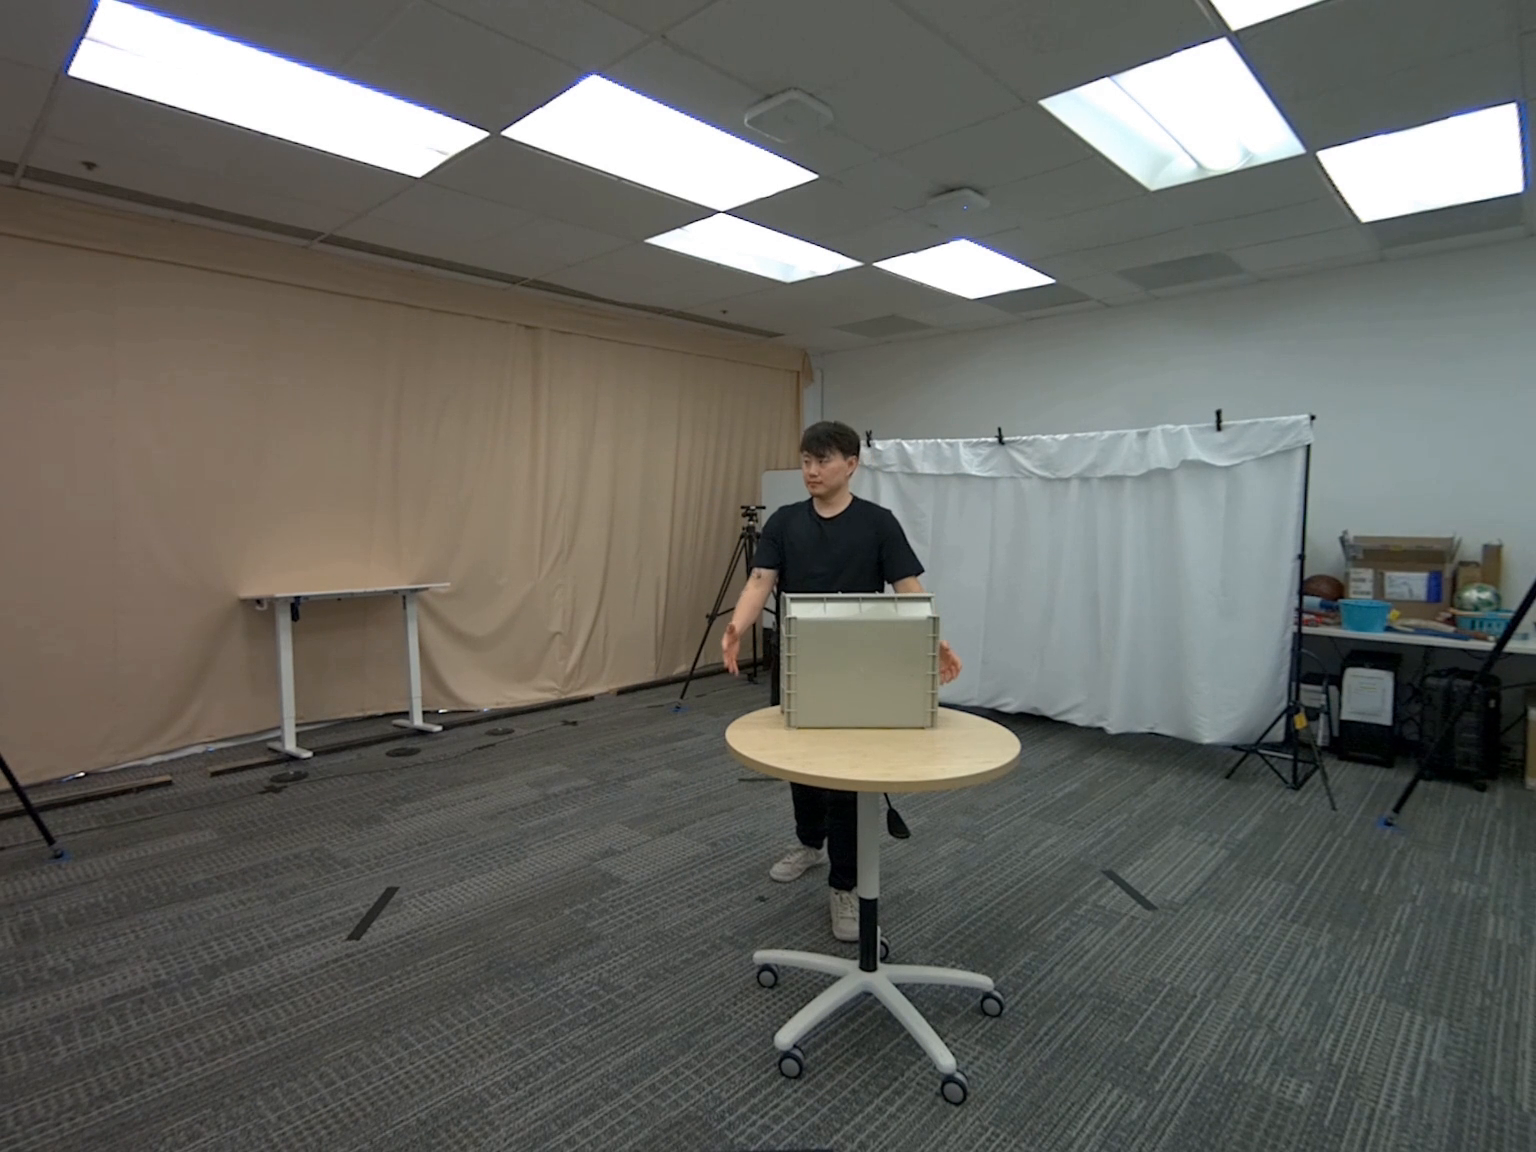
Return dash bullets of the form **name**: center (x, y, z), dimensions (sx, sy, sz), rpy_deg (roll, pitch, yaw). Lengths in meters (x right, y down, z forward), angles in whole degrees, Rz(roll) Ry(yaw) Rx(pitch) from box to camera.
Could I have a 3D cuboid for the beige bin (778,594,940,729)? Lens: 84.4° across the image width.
- **beige bin**: center (0.249, 0.229, 2.346), dimensions (0.422, 0.376, 0.190), rpy_deg (0, 6, 0)
